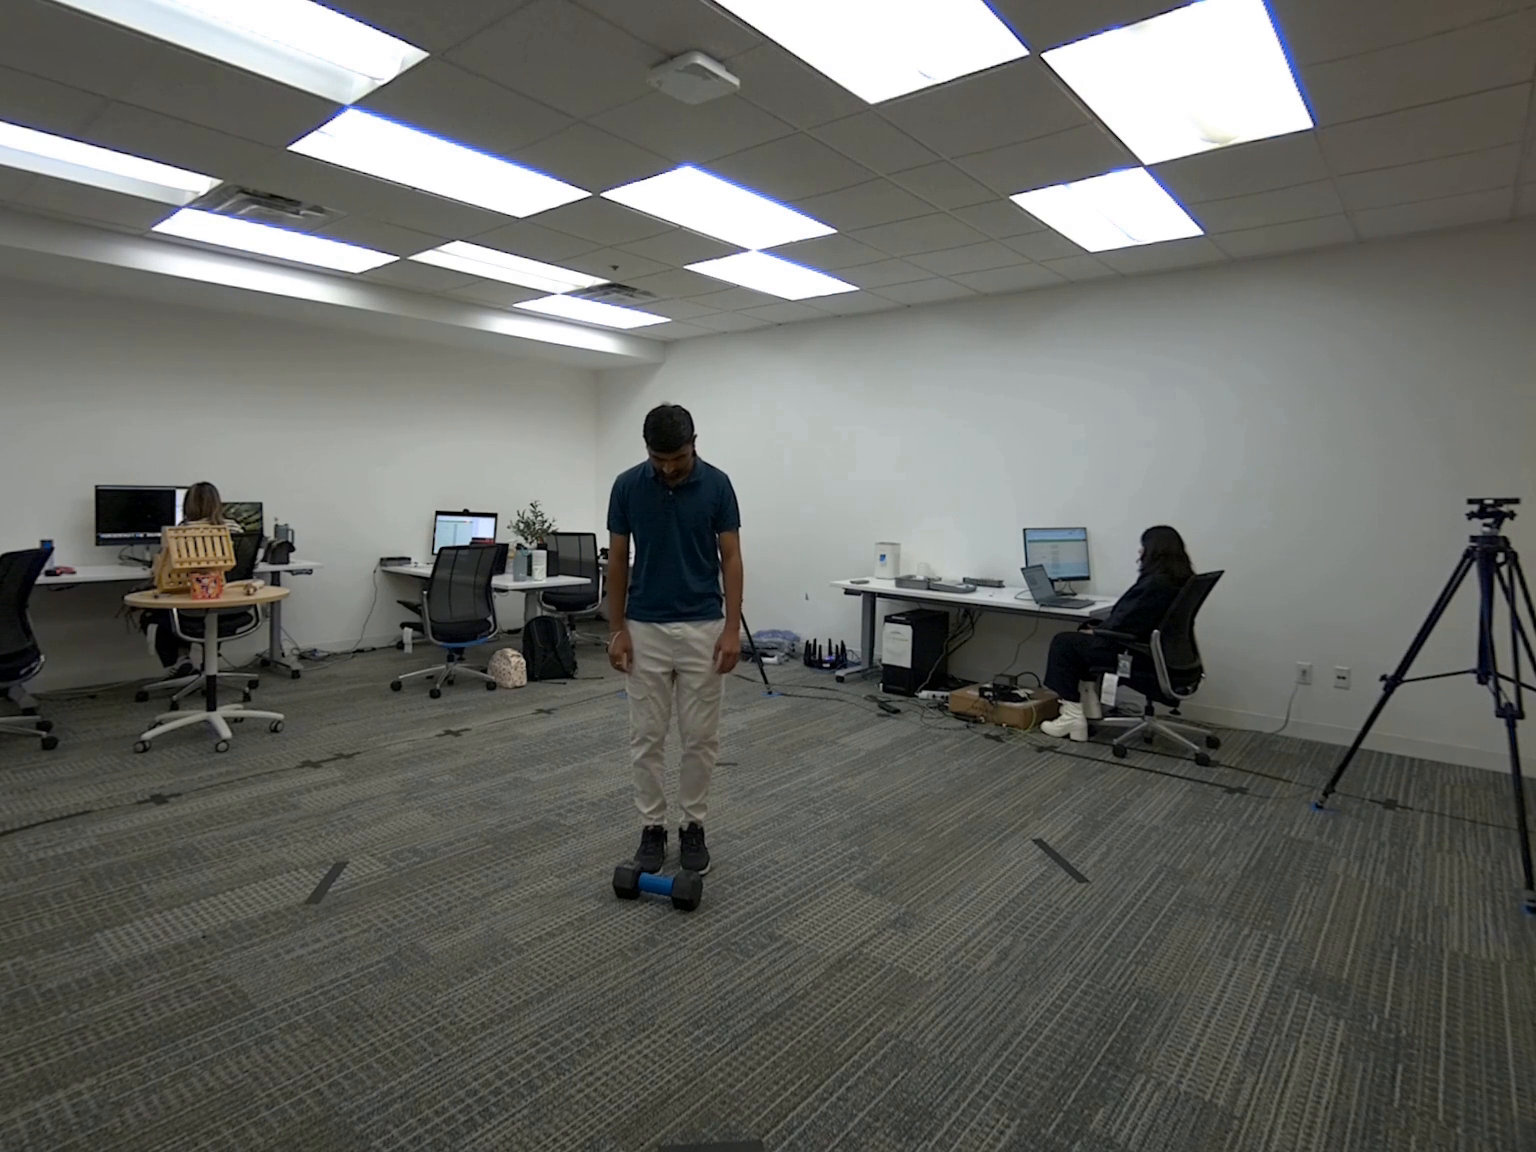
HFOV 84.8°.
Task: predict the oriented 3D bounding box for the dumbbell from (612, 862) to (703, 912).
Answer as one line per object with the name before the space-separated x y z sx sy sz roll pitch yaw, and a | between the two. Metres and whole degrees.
dumbbell | -0.383 1.034 2.858 0.299 0.119 0.110 3 35 18
